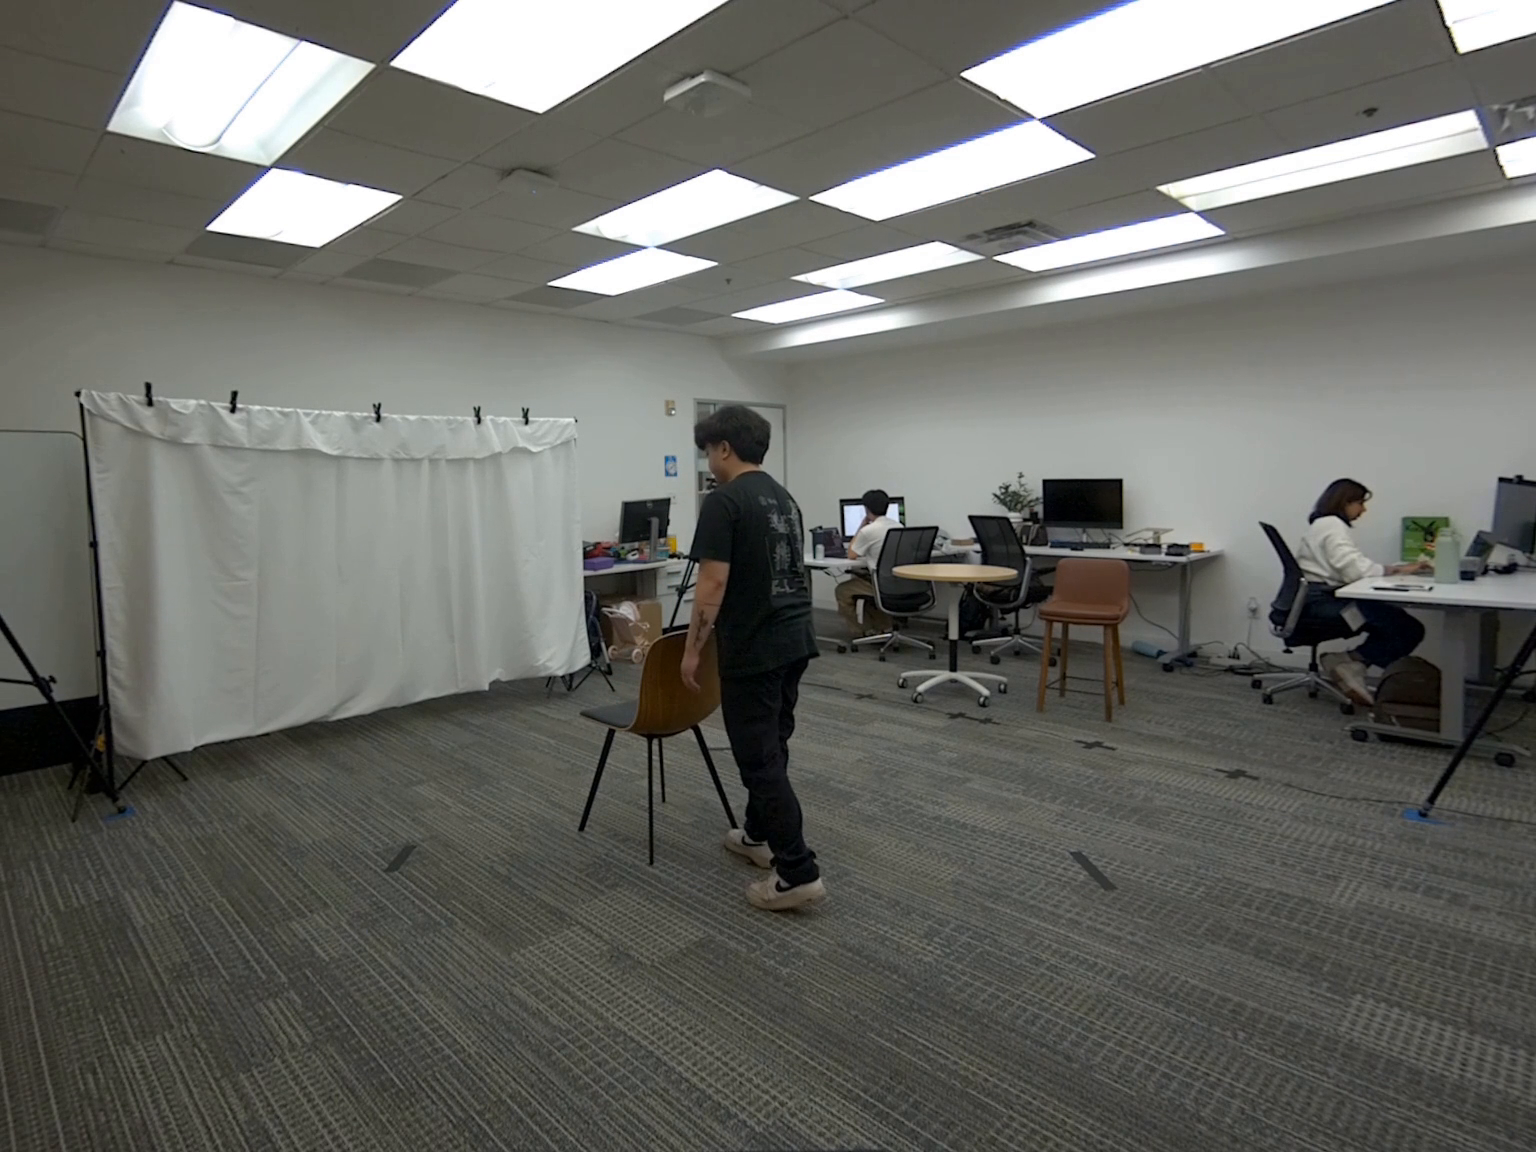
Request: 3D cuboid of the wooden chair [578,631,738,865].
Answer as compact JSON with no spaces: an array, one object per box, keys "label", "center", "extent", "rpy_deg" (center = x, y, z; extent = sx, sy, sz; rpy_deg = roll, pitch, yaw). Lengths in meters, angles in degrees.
[{"label":"wooden chair","center":[-0.452,0.589,3.384],"extent":[0.540,0.872,0.465],"rpy_deg":[10,10,43]}]
